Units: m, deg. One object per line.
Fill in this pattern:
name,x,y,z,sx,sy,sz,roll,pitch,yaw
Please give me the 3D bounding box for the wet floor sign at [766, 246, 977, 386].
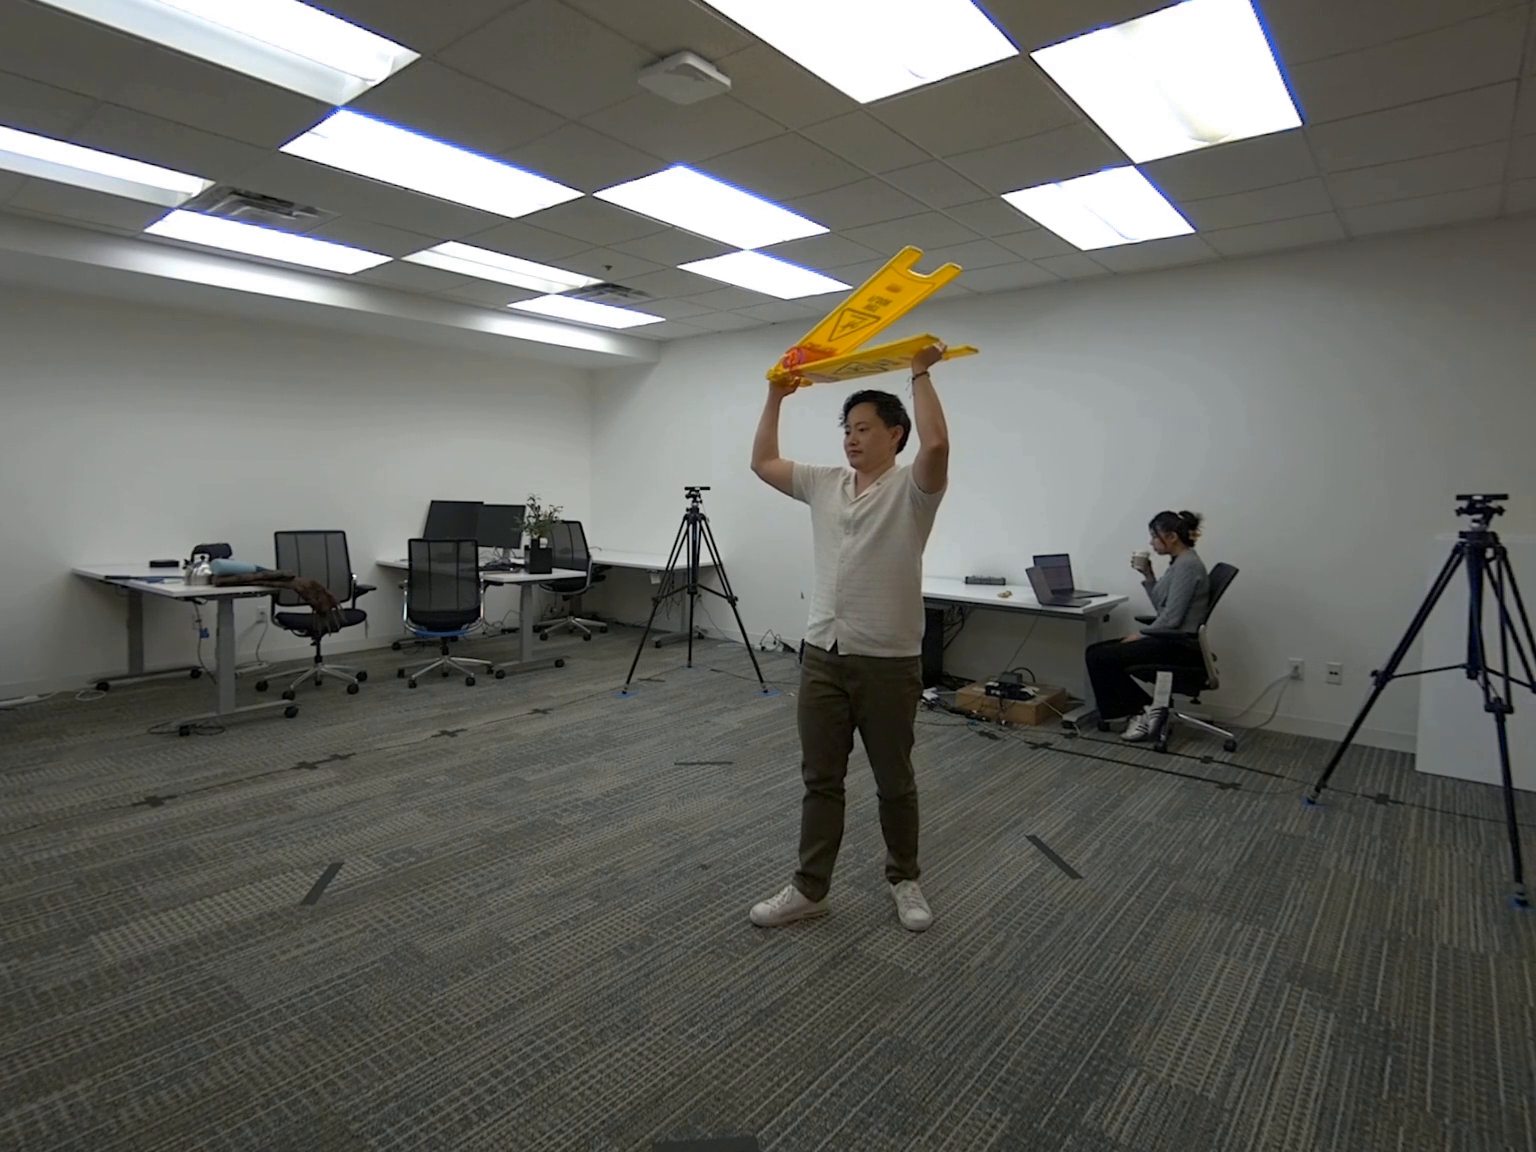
wet floor sign,0.272,-0.720,2.661,0.273,0.293,0.660,0,-12,-44
